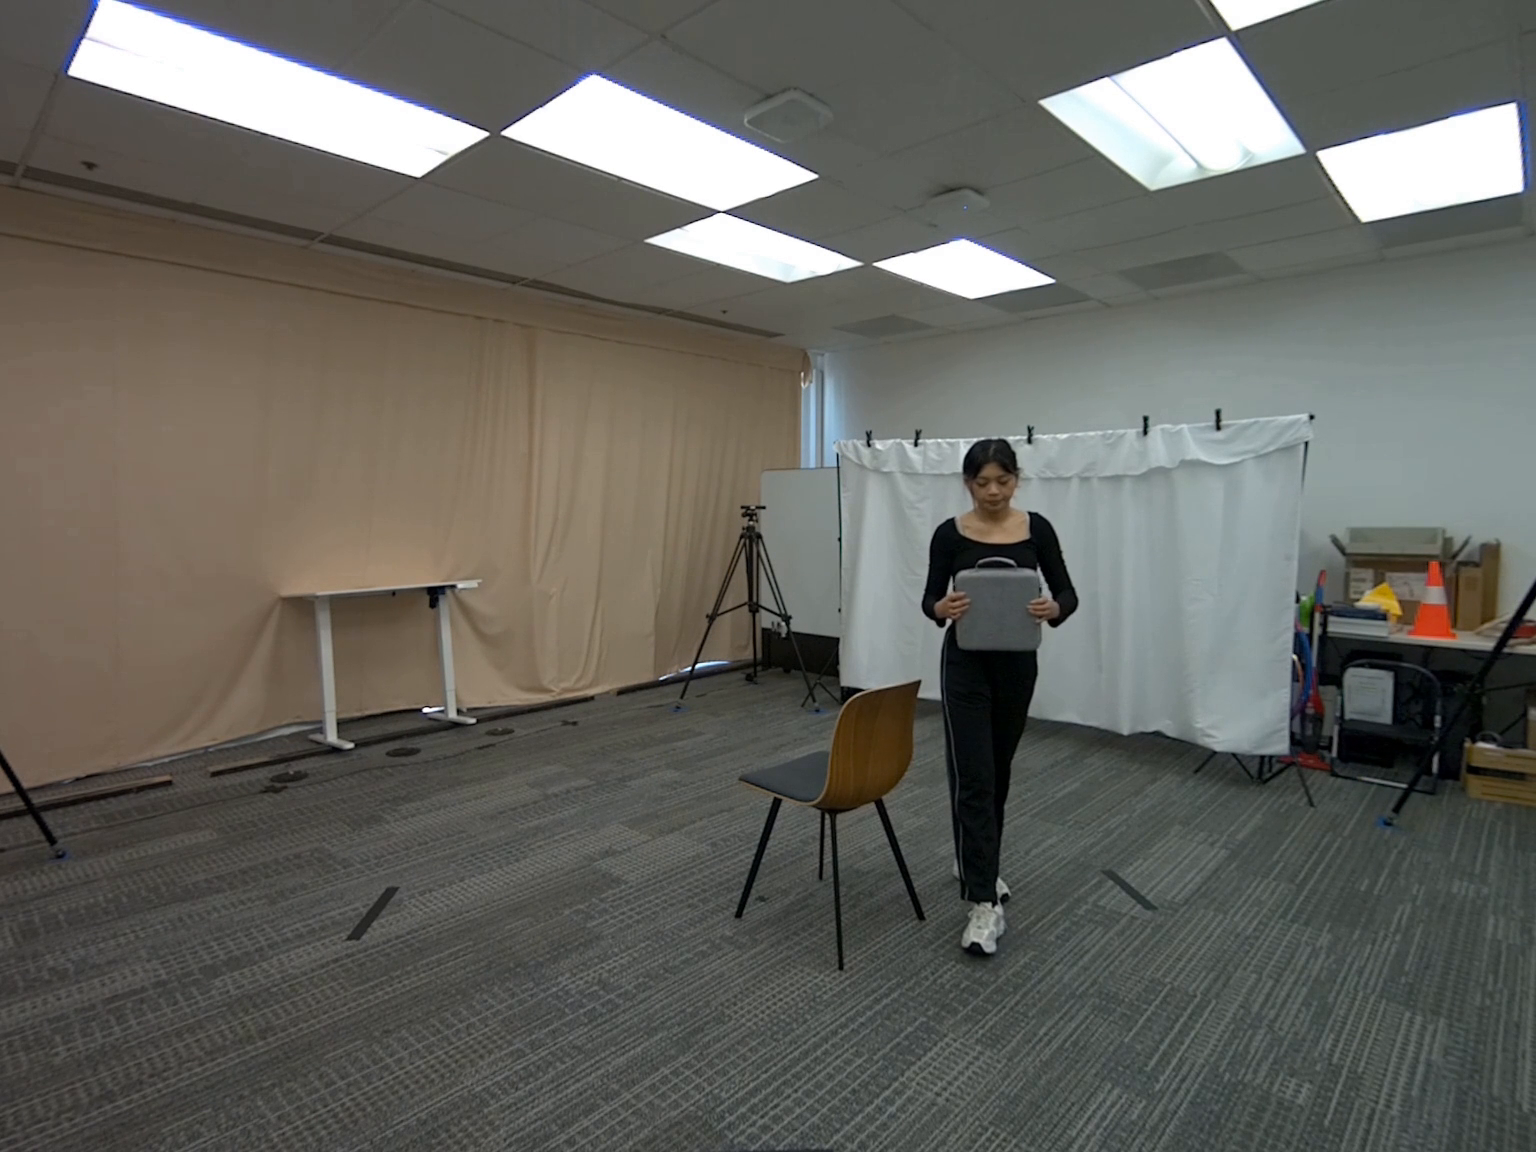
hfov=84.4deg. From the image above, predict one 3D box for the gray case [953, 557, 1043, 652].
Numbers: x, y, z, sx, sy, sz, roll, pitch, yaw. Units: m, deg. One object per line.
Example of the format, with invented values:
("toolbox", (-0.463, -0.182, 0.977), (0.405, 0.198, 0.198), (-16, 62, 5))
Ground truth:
("gray case", (0.723, 0.102, 2.654), (0.262, 0.259, 0.103), (-2, 9, 18))
